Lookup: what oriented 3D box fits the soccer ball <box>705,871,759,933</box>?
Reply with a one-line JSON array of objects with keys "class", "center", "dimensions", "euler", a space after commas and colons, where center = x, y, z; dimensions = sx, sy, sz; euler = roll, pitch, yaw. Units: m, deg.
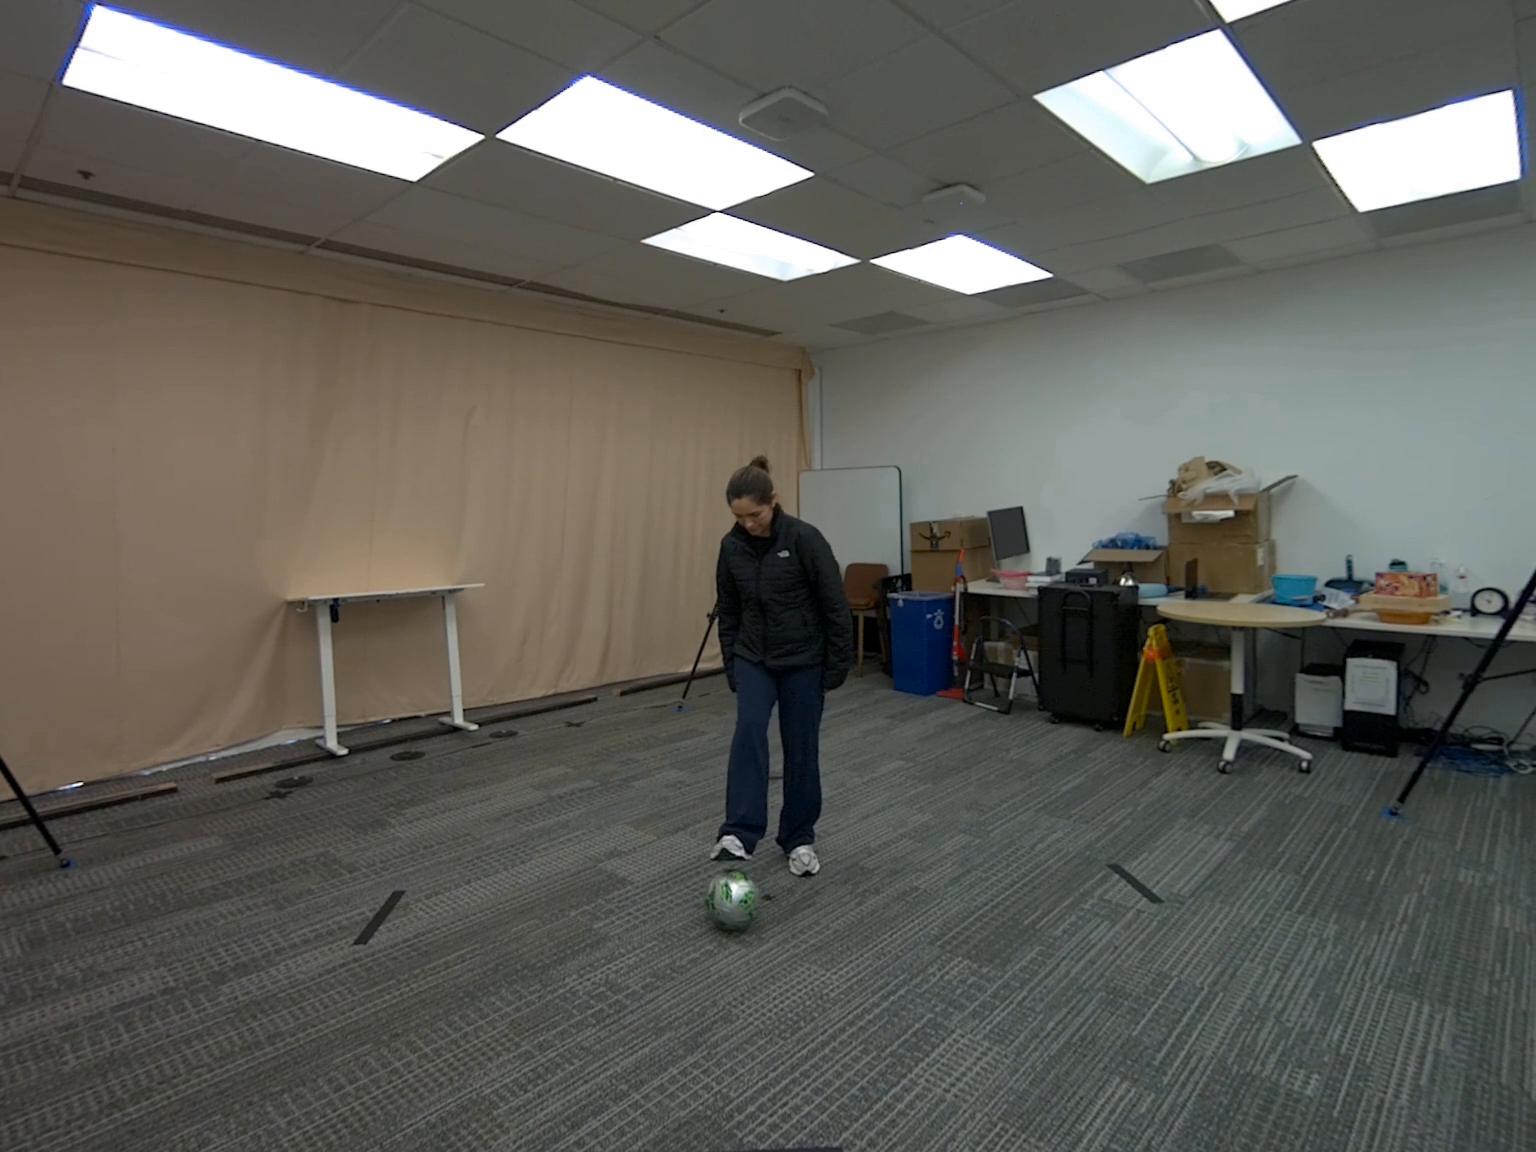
[{"class": "soccer ball", "center": [-0.117, 1.060, 2.777], "dimensions": [0.187, 0.187, 0.188], "euler": [-1, 4, -2]}]
